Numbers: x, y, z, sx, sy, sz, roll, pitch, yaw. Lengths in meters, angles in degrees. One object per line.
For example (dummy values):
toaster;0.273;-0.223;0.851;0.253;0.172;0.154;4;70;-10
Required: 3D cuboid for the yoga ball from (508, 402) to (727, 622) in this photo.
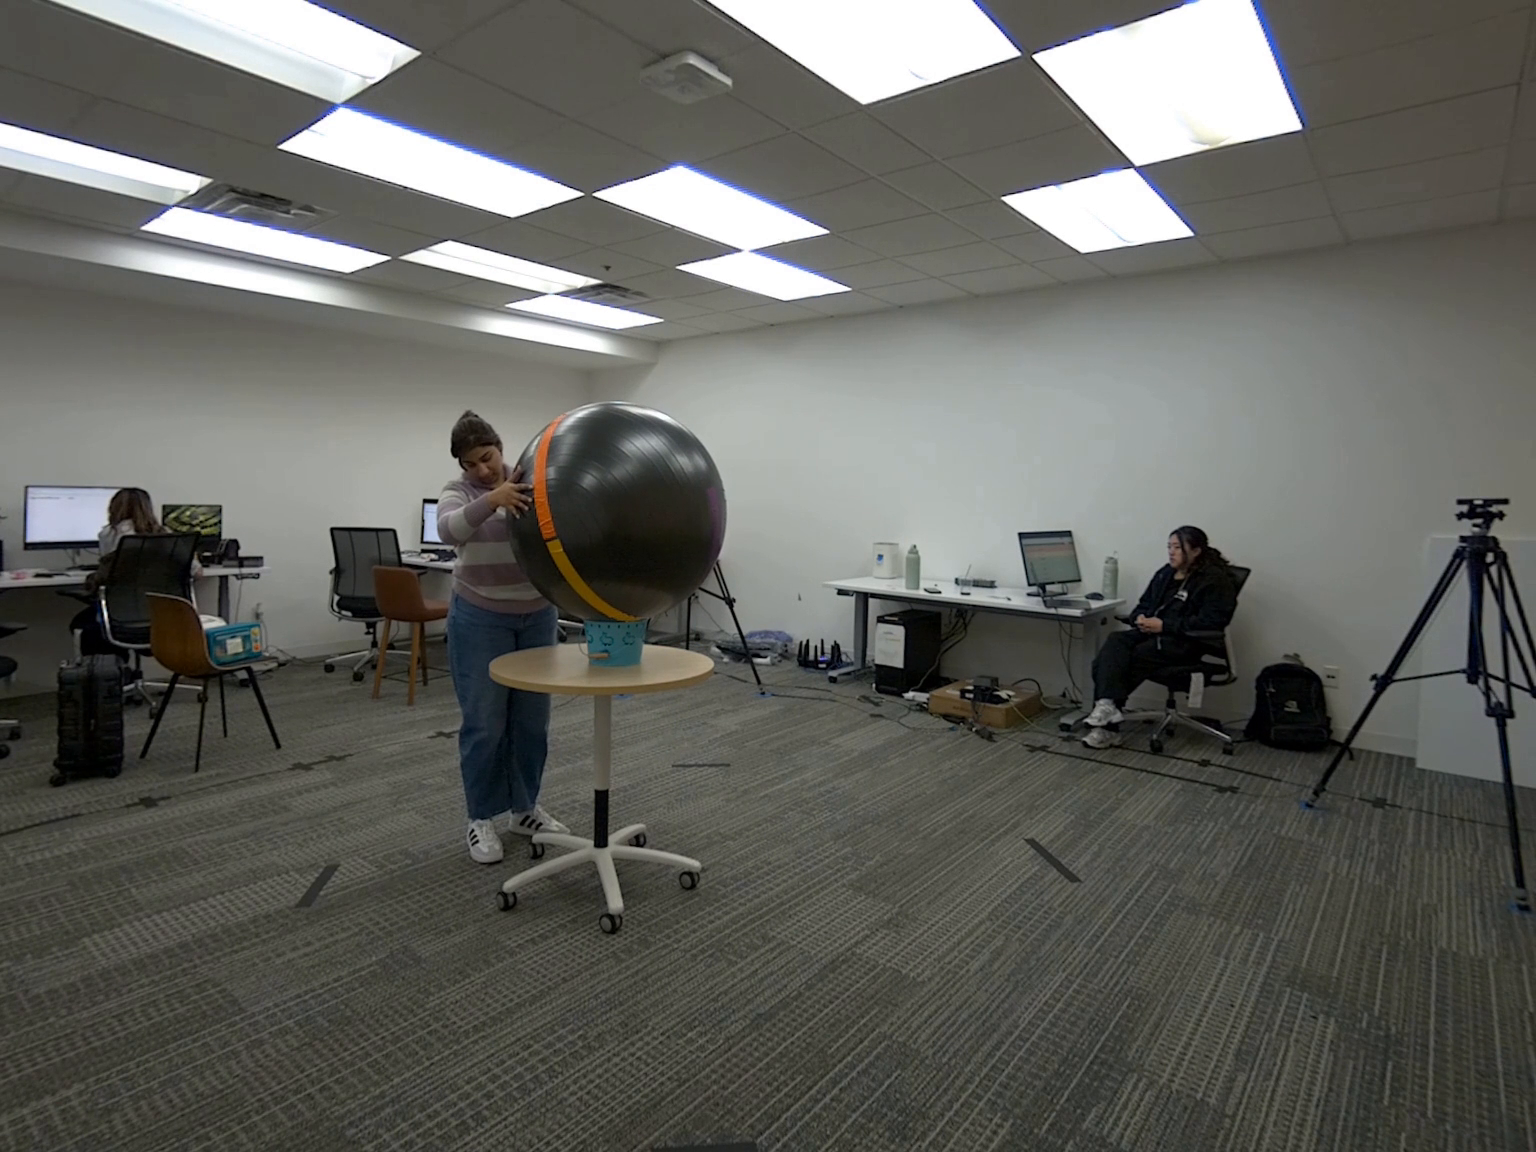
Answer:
yoga ball;-0.530;-0.215;2.933;0.757;0.755;0.762;1;4;-2
